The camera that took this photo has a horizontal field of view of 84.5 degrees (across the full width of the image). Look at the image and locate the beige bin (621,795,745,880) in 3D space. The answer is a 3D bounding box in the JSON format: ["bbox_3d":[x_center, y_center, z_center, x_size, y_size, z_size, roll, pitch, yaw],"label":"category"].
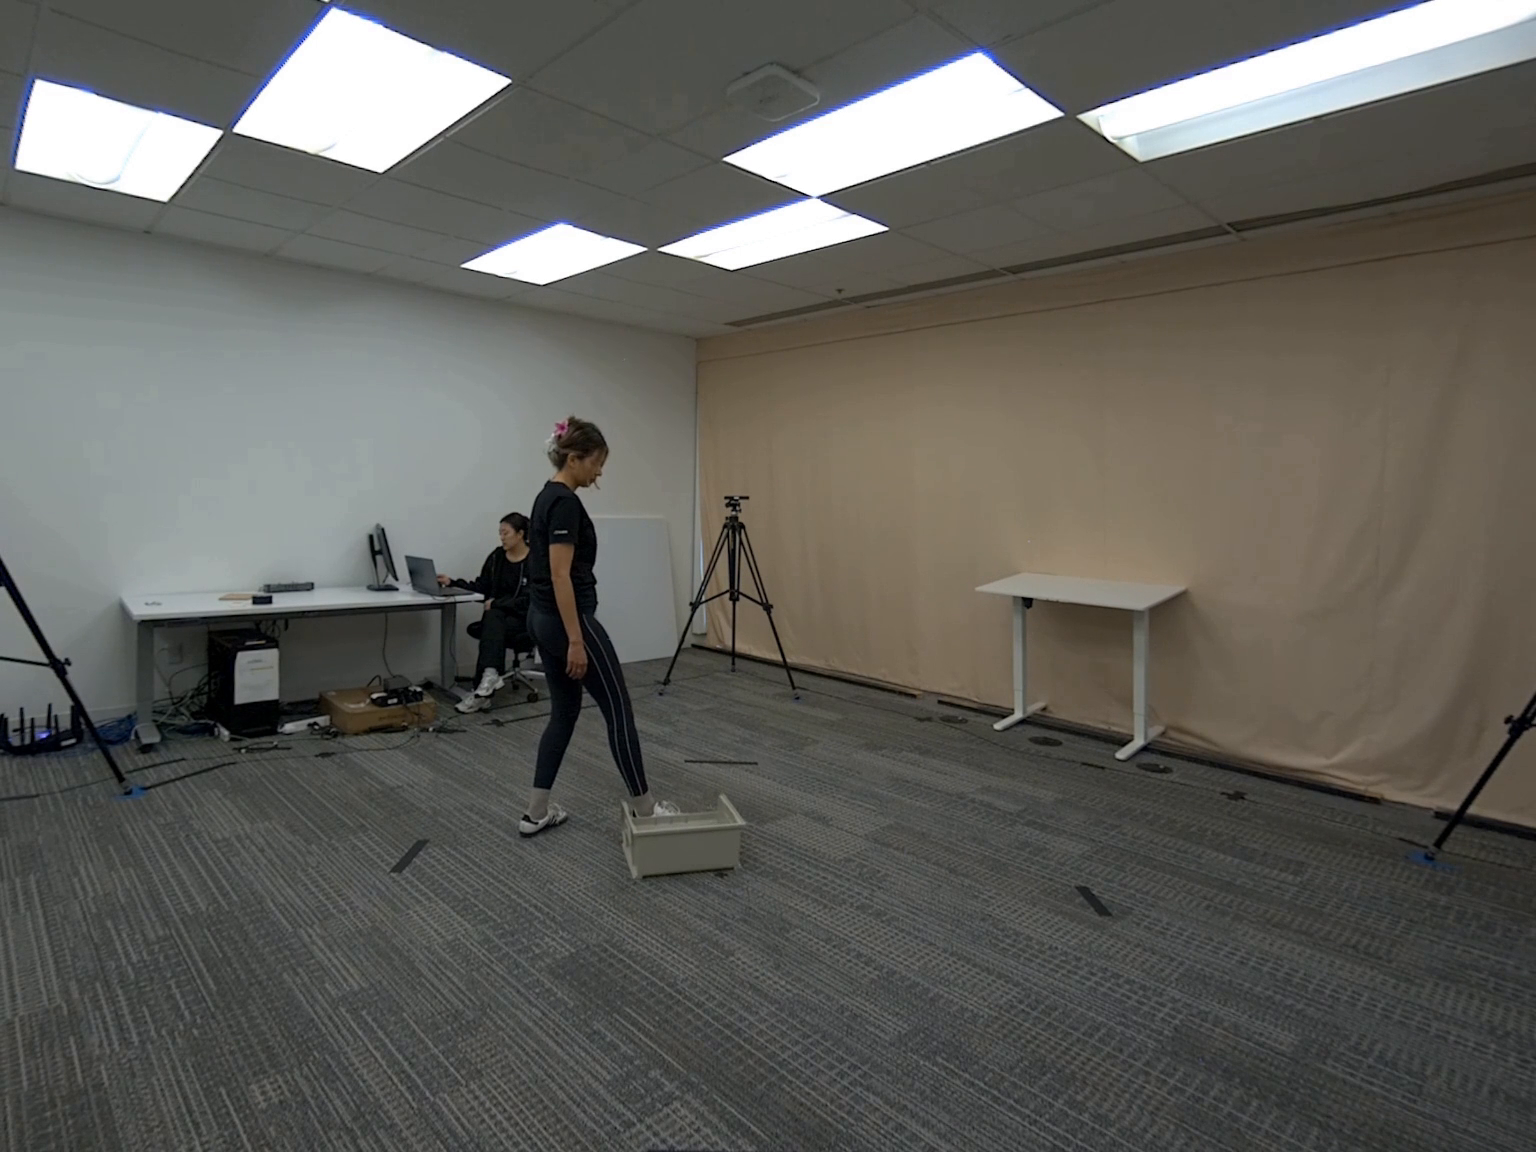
[{"bbox_3d":[-0.351,0.996,3.265,0.417,0.188,0.383,1,6,-17],"label":"beige bin"}]
